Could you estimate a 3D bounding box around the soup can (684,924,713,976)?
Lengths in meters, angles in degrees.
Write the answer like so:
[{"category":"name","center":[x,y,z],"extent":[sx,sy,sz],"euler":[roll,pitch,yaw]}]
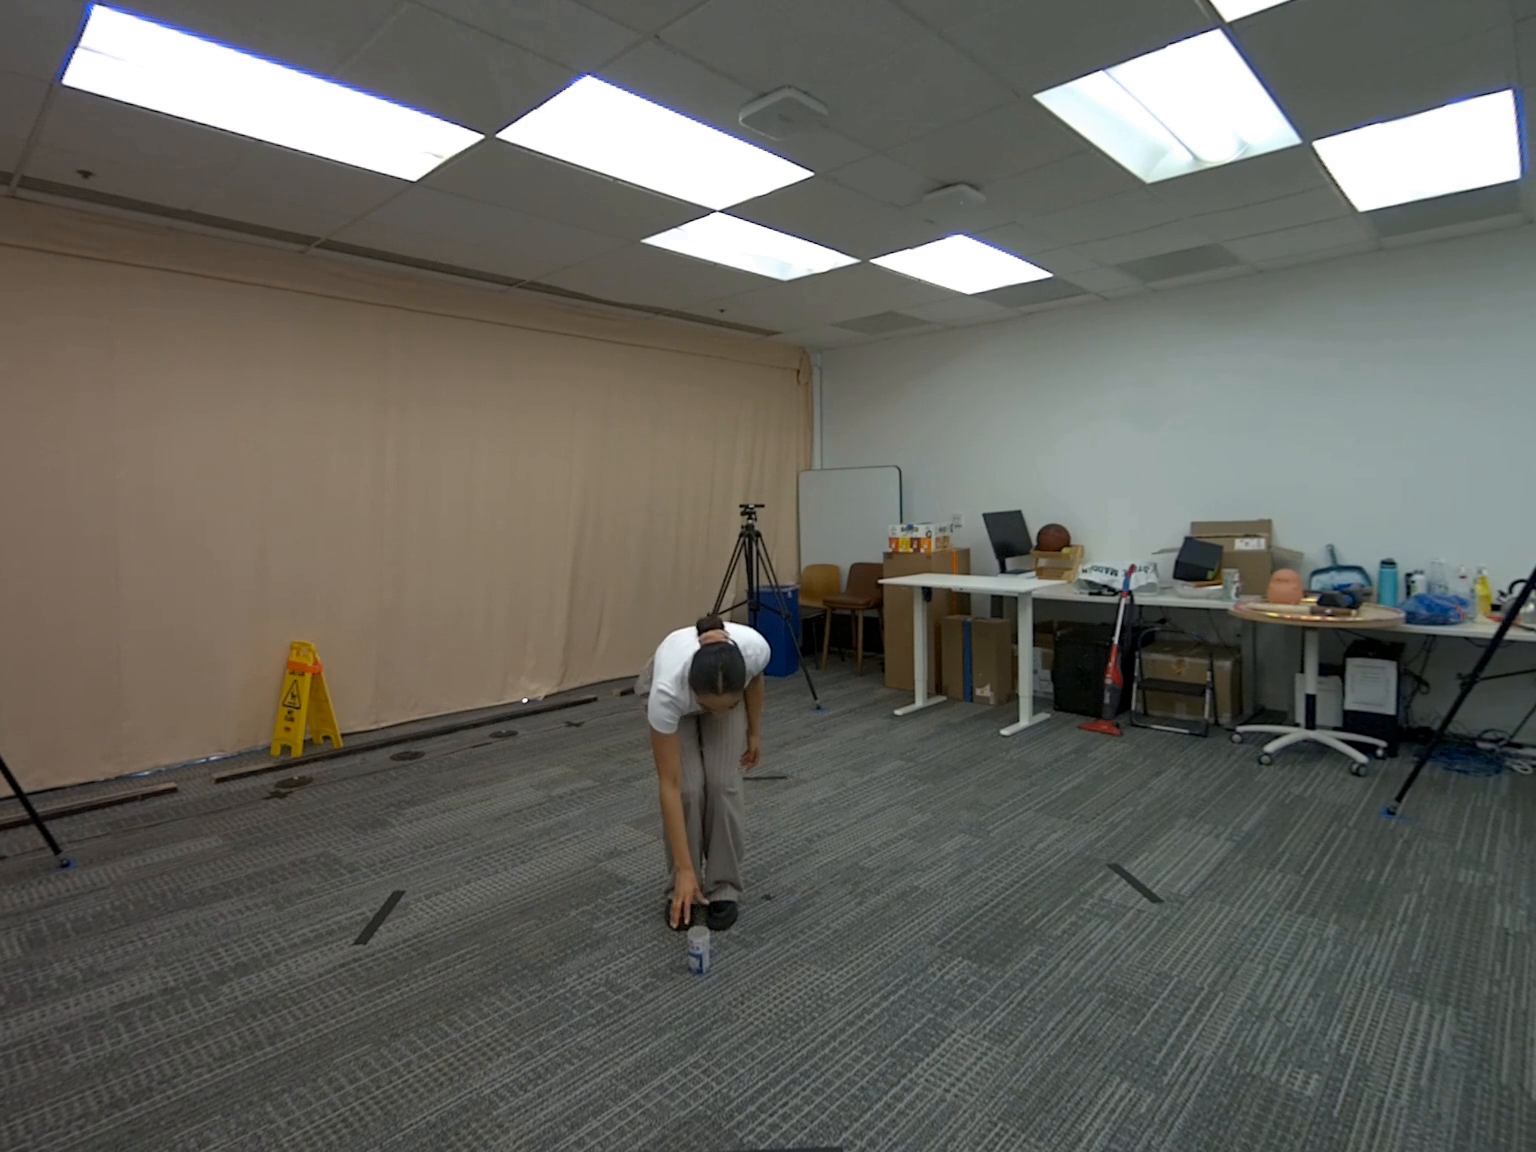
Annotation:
[{"category":"soup can","center":[-0.205,1.118,2.524],"extent":[0.067,0.121,0.067],"euler":[-2,6,-2]}]
